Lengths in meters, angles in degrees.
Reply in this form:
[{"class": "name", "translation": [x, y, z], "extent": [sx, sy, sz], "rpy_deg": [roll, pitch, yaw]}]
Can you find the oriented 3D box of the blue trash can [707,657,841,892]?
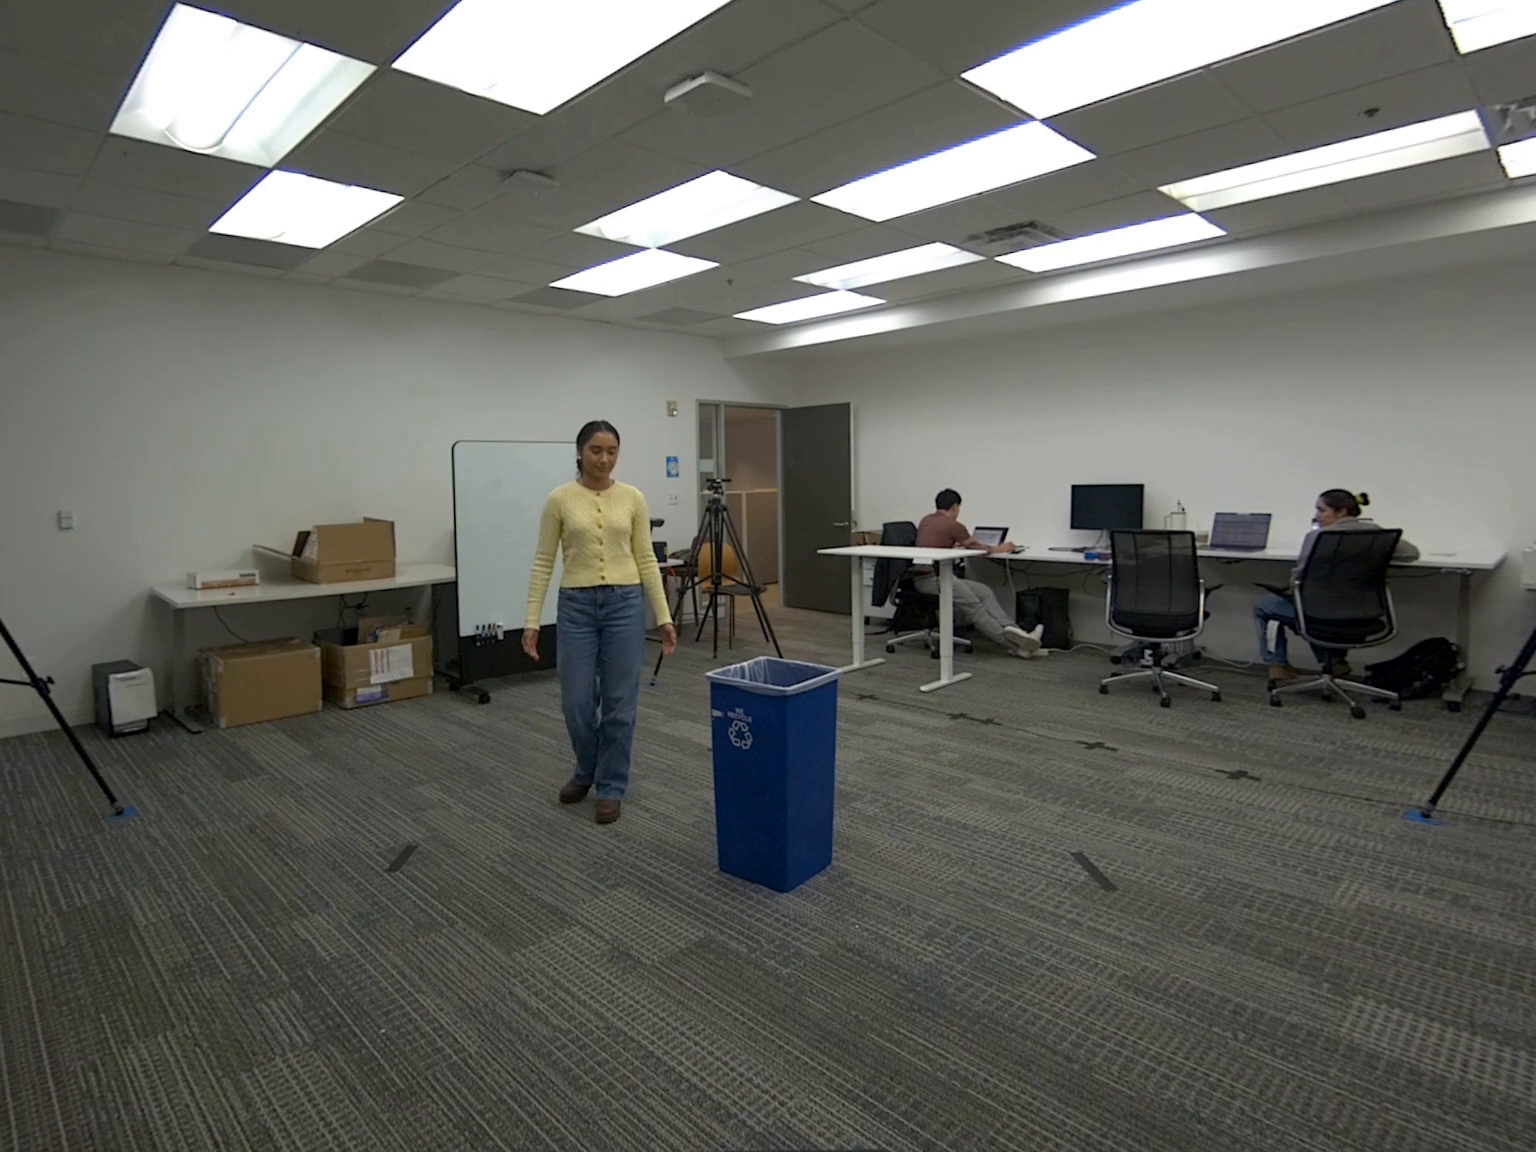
[{"class": "blue trash can", "translation": [0.032, 0.691, 3.053], "extent": [0.385, 0.711, 0.368], "rpy_deg": [2, 5, 37]}]
